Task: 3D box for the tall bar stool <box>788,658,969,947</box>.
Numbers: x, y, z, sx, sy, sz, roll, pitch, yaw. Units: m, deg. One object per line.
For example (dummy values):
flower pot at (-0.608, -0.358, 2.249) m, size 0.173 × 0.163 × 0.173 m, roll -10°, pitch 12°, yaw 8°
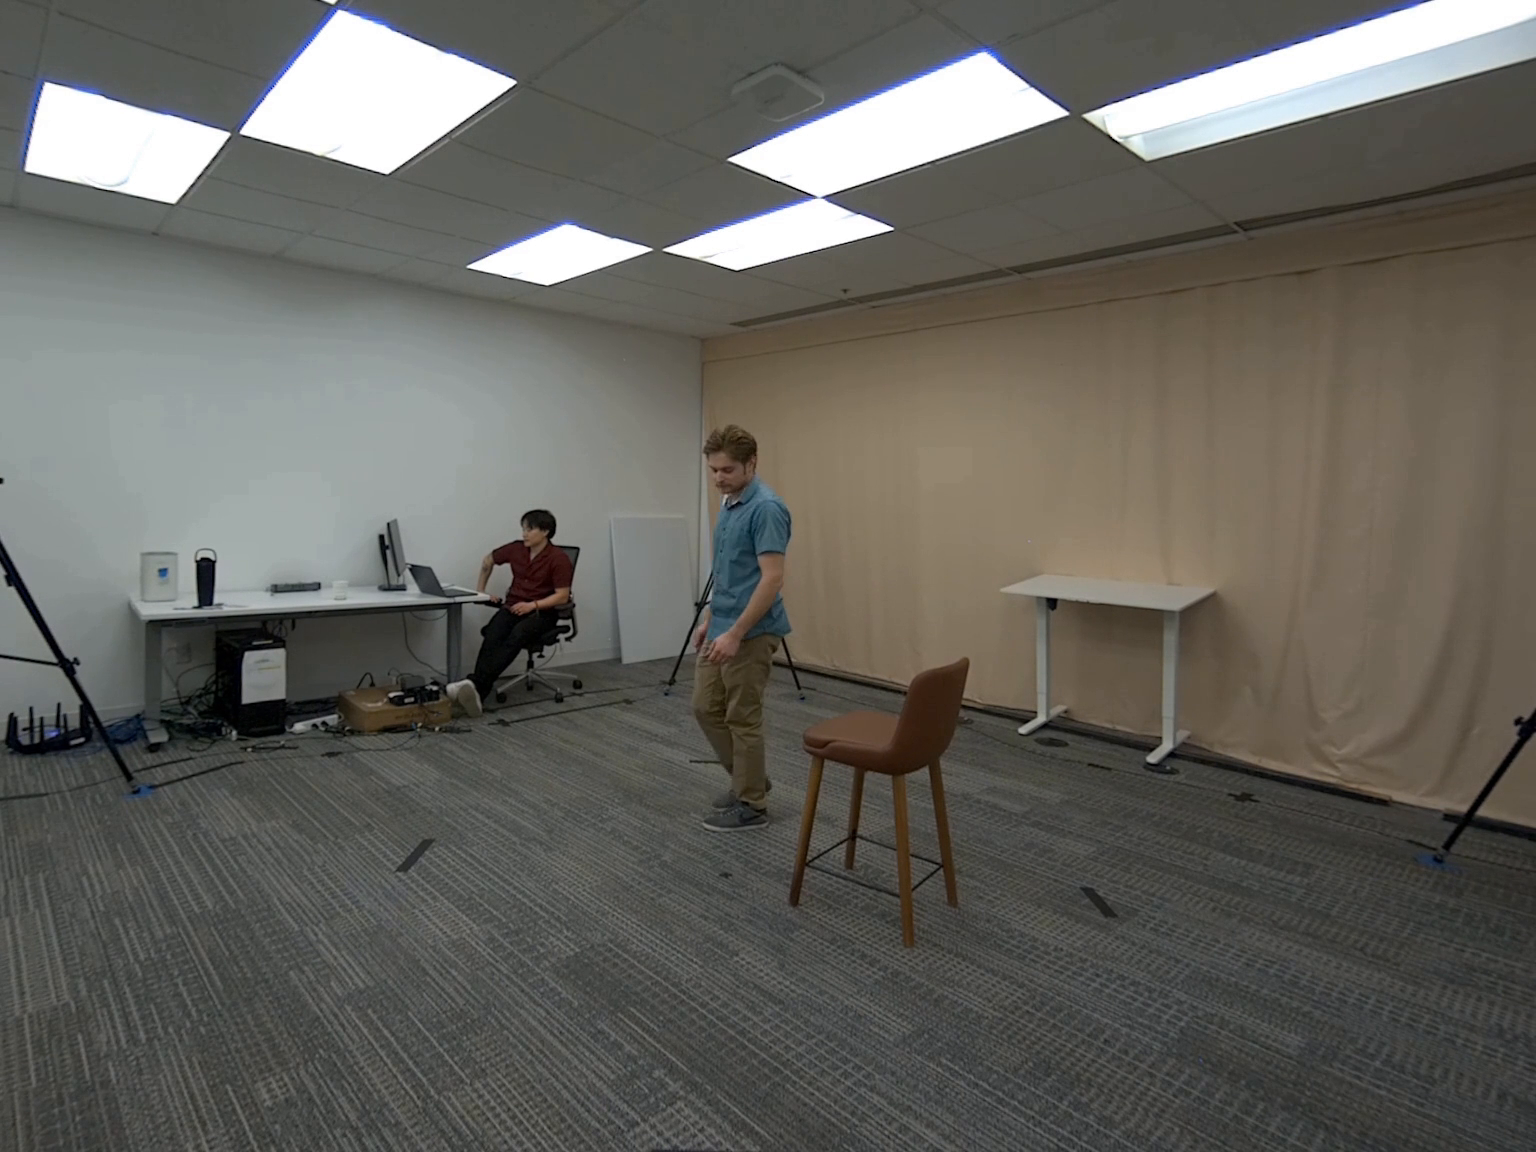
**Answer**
tall bar stool at (0.382, 0.704, 2.876) m, size 0.479 × 0.887 × 0.447 m, roll 7°, pitch 6°, yaw 37°
